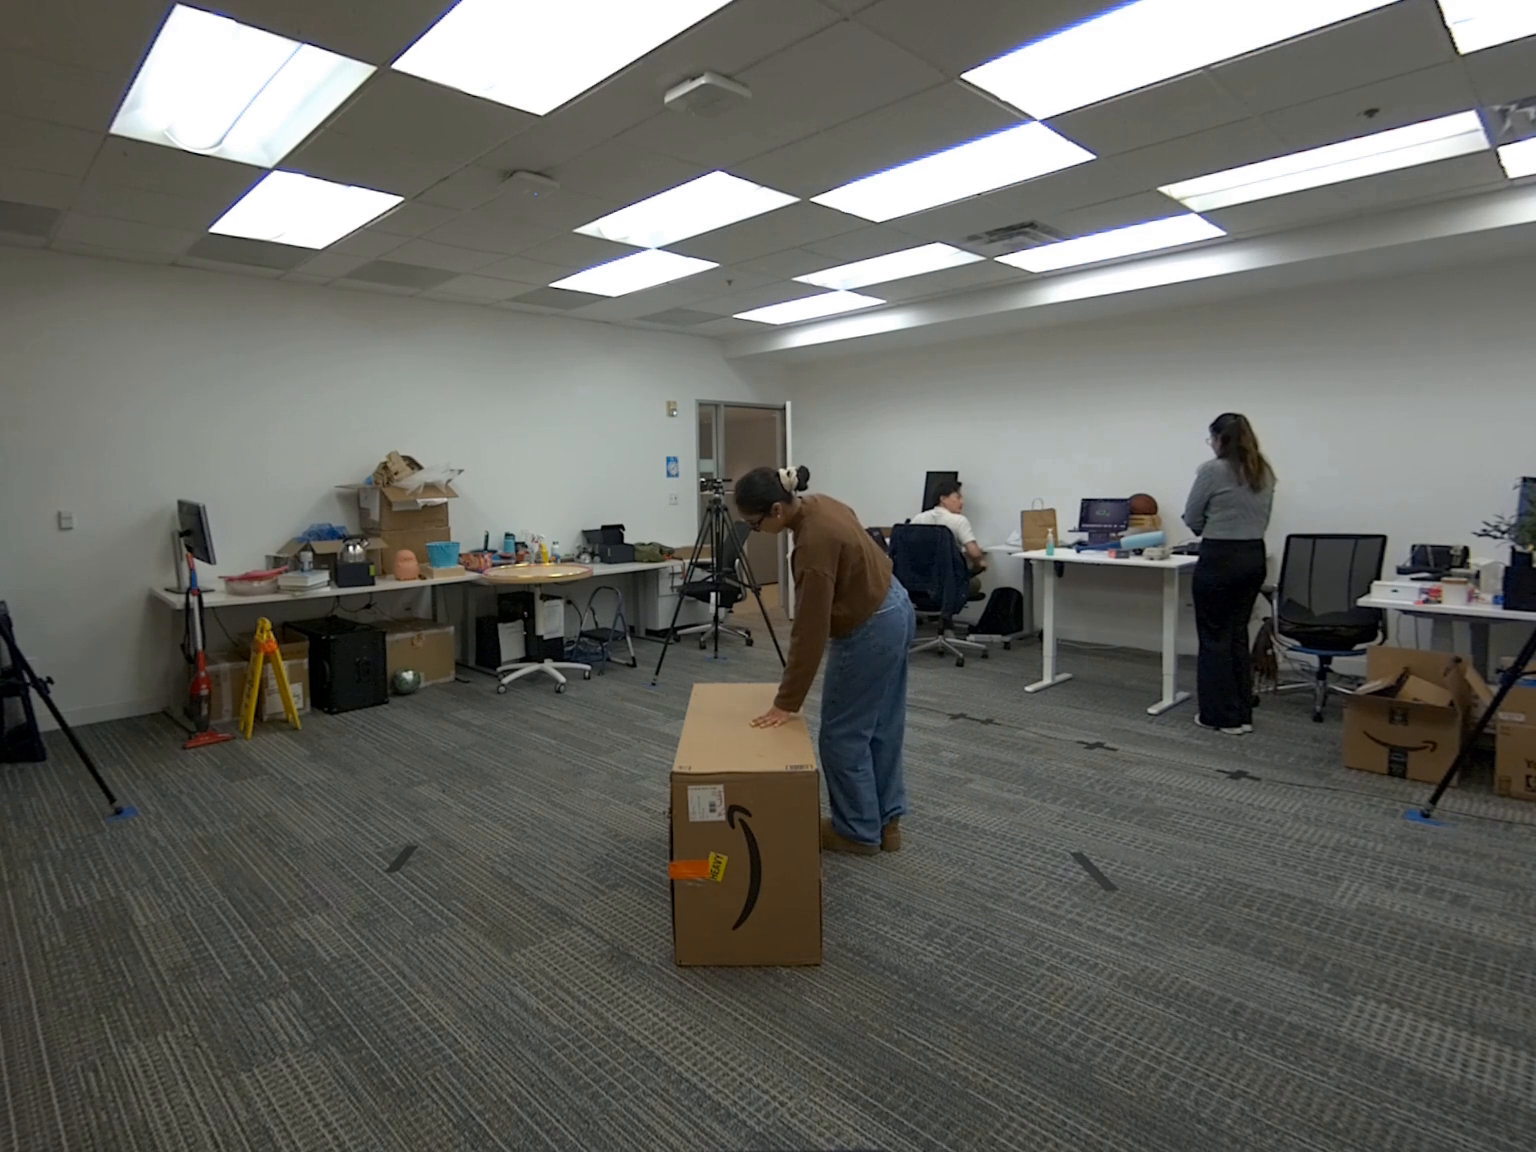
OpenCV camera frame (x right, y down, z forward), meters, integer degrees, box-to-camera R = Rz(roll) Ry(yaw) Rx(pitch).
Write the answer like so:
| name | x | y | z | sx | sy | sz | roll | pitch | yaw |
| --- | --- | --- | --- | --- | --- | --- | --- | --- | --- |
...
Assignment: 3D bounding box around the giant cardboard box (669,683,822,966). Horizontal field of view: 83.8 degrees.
| name | x | y | z | sx | sy | sz | roll | pitch | yaw |
| --- | --- | --- | --- | --- | --- | --- | --- | --- | --- |
| giant cardboard box | -0.080 | 0.779 | 2.938 | 0.447 | 0.581 | 1.030 | 0 | 5 | 0 |
